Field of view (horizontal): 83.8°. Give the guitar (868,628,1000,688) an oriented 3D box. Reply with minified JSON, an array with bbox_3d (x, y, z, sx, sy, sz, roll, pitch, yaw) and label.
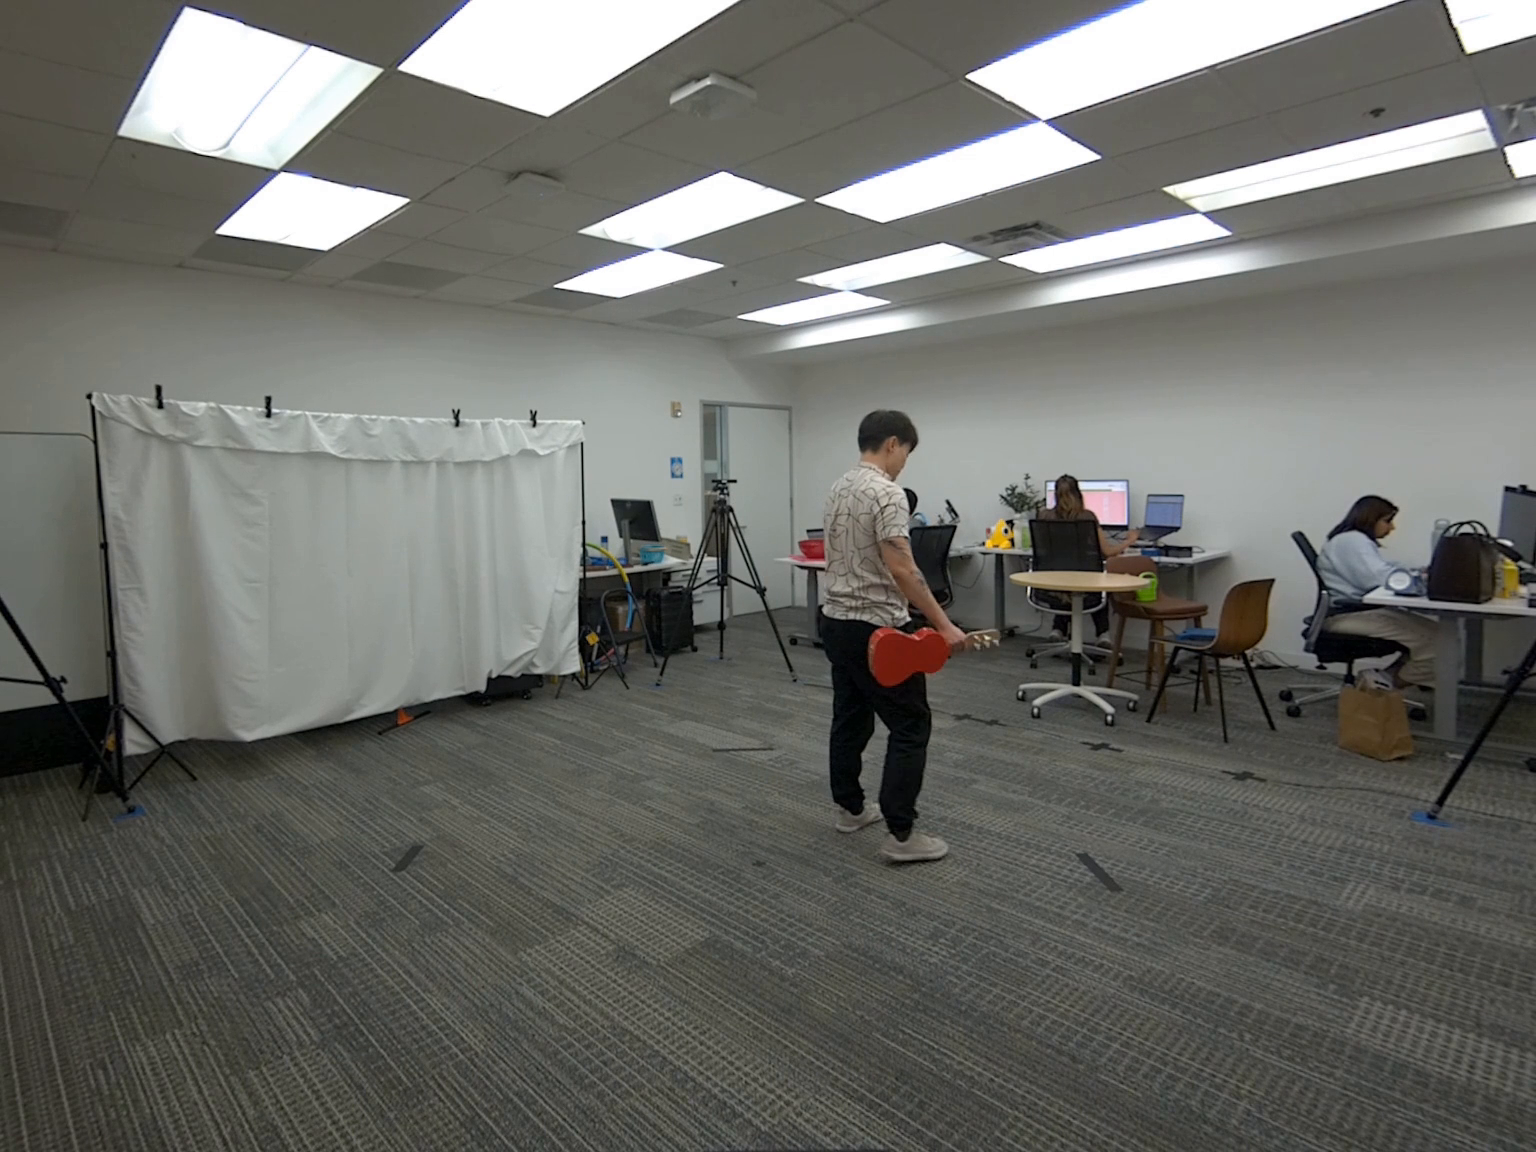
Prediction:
[{"bbox_3d":[0.599,0.228,2.974,0.494,0.190,0.072,-16,14,-9],"label":"guitar"}]
